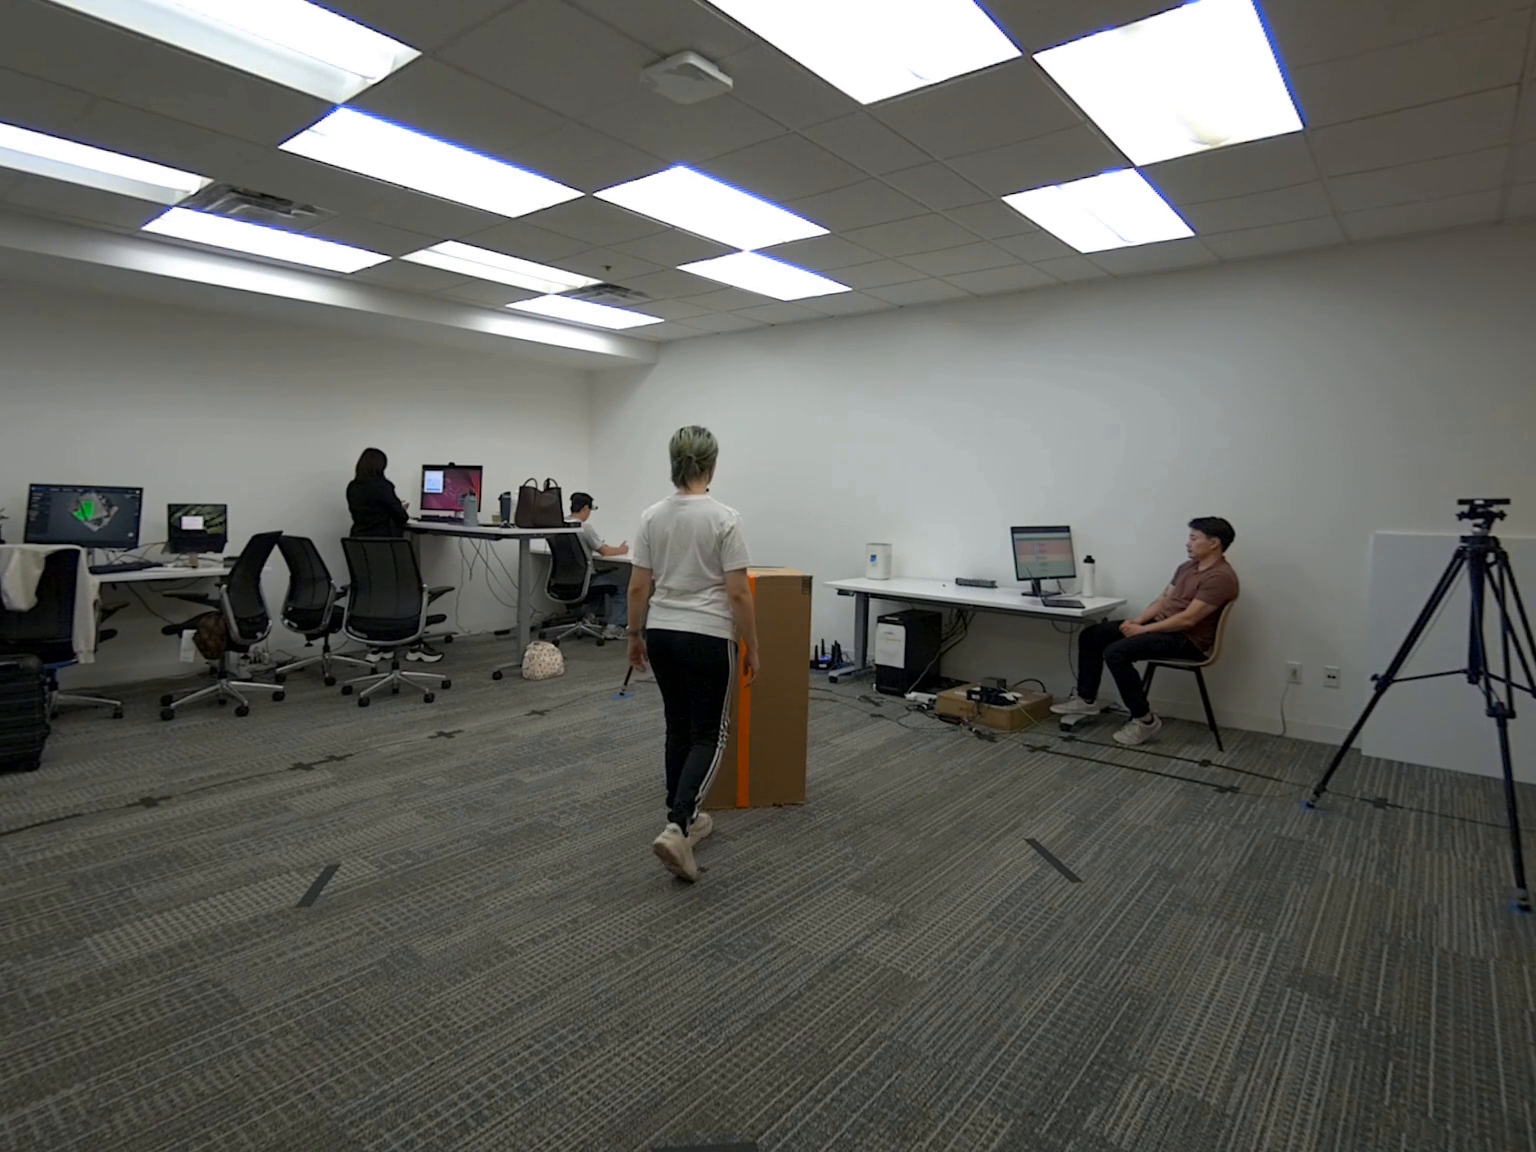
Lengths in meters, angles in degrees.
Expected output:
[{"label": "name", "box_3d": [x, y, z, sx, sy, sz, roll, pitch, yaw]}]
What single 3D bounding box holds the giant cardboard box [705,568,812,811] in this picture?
[{"label": "giant cardboard box", "box_3d": [-0.155, 0.485, 3.911, 0.576, 1.025, 0.454, 1, 2, -14]}]
